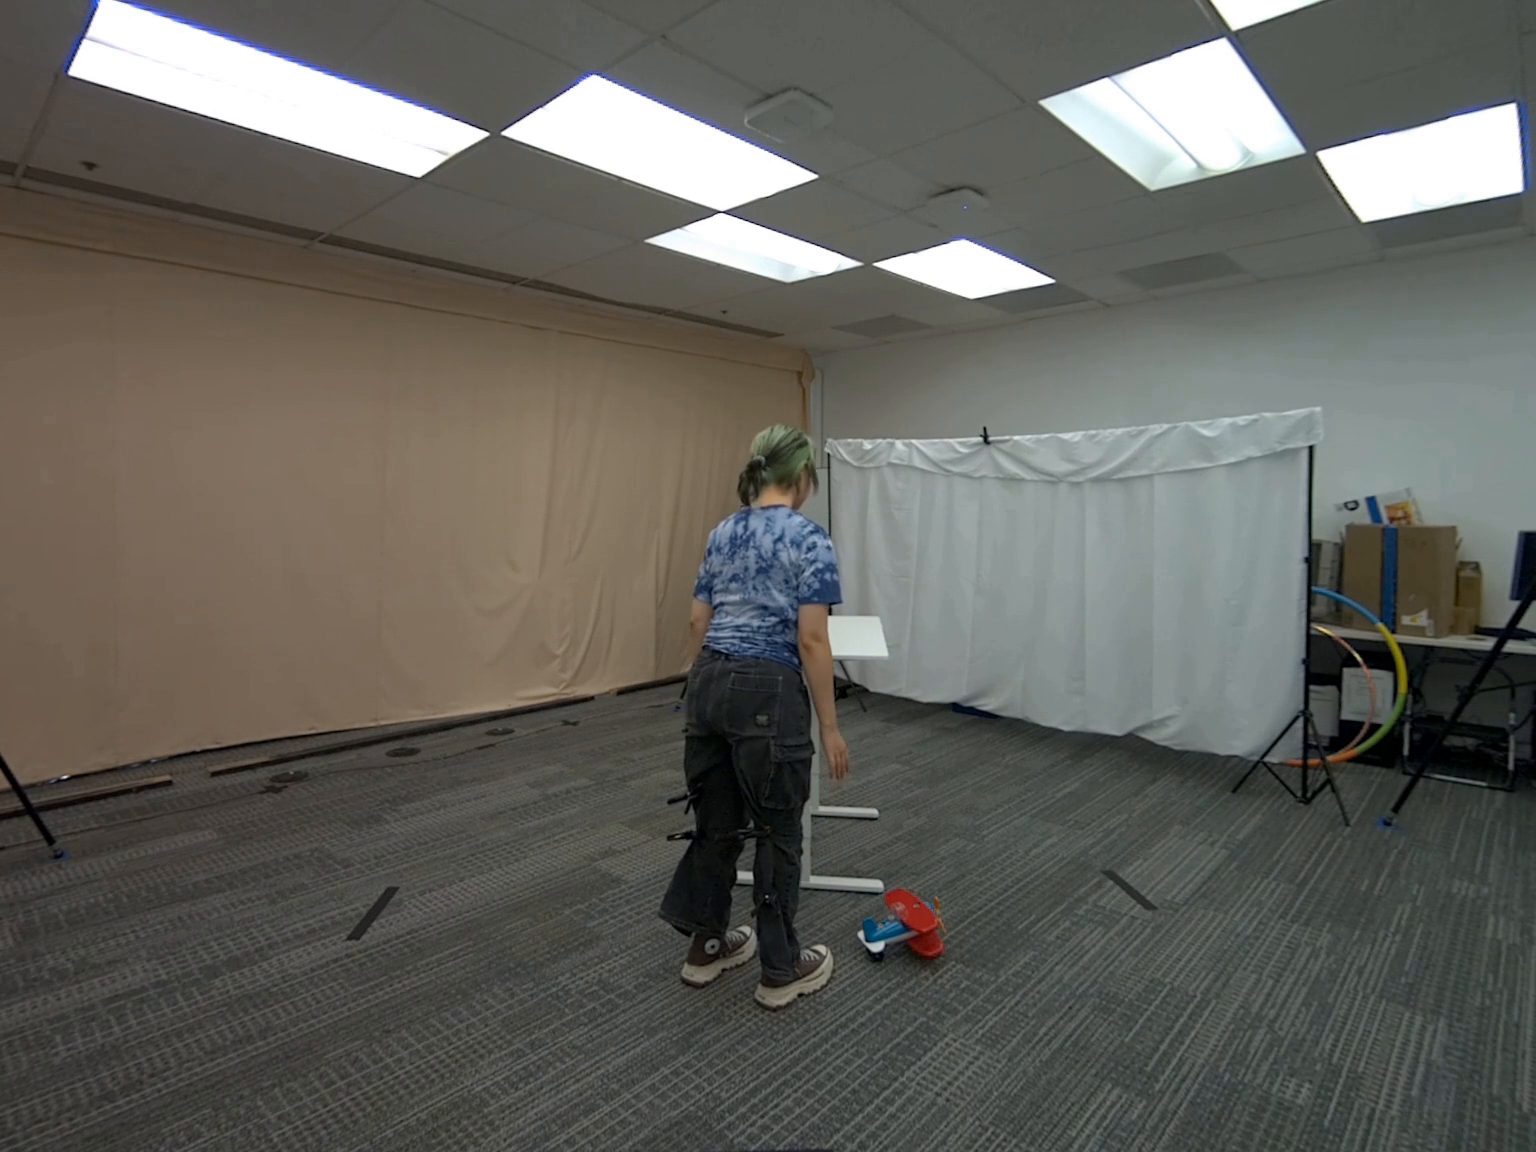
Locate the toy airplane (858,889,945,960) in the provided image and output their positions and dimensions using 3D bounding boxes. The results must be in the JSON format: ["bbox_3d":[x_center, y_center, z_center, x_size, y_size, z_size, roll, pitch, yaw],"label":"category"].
[{"bbox_3d":[0.427,1.105,2.591,0.251,0.156,0.259,-4,6,-44],"label":"toy airplane"}]
